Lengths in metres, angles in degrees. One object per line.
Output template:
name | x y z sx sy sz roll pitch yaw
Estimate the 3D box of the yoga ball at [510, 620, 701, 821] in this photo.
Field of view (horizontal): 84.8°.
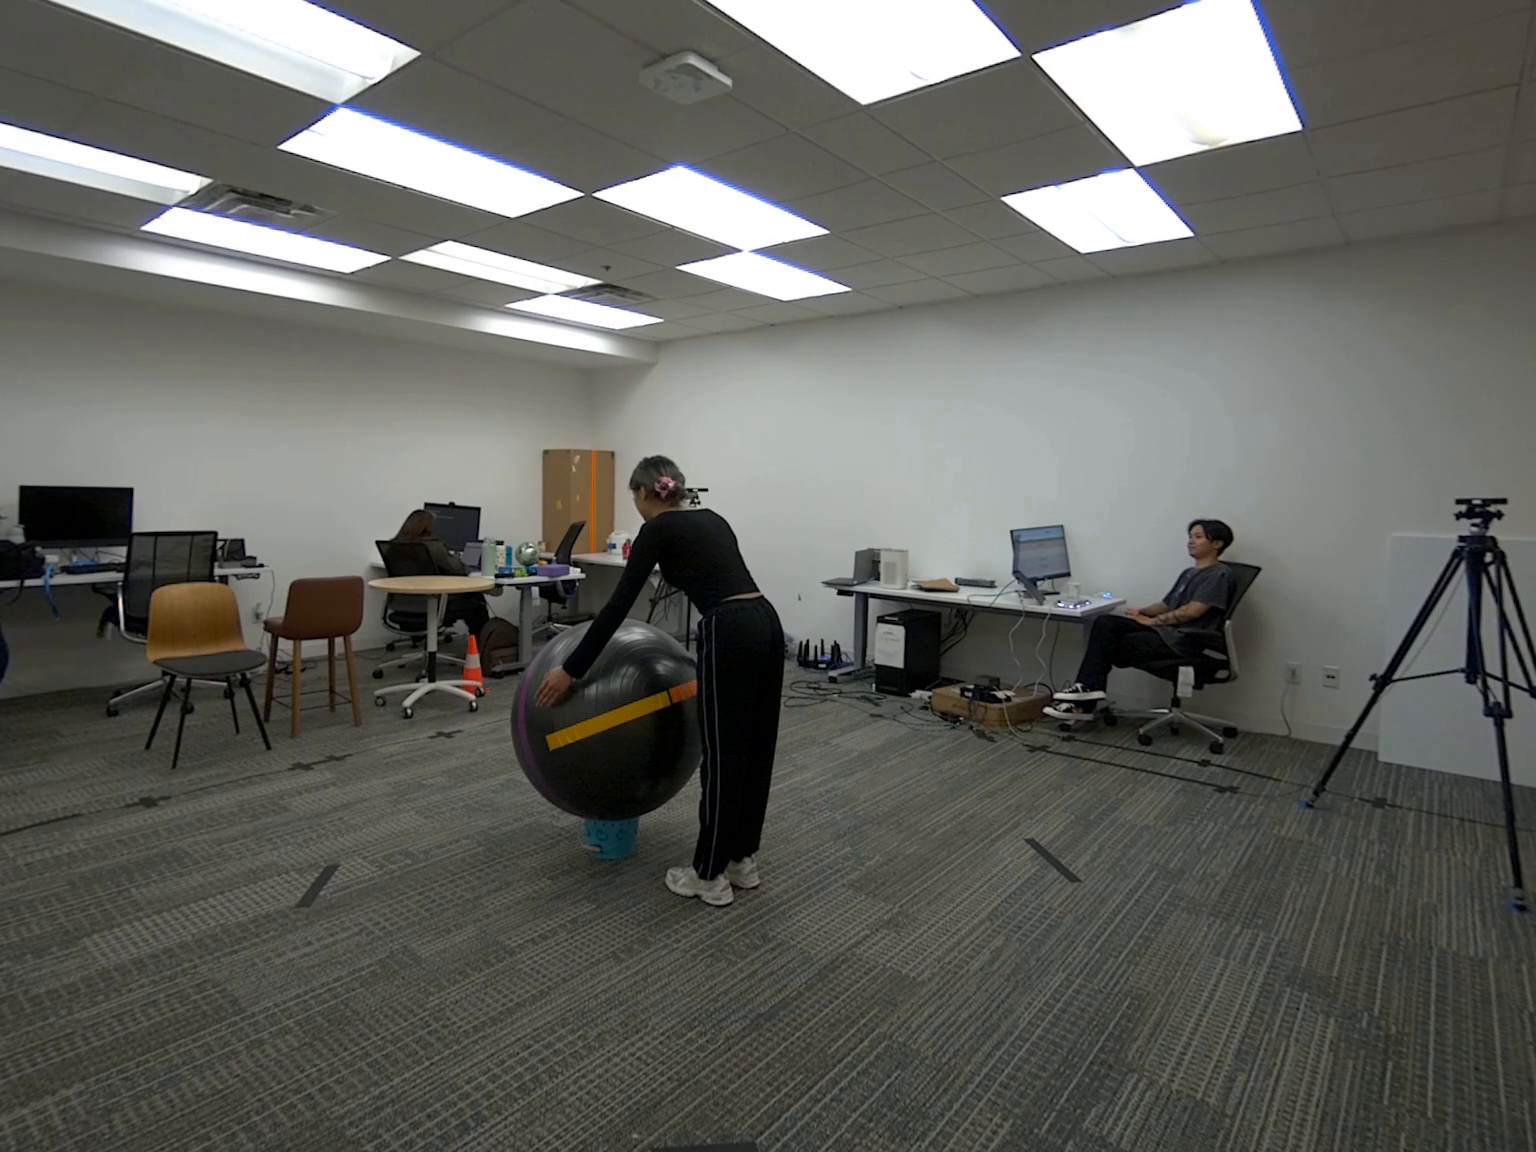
yoga ball | -0.610 0.537 3.257 0.757 0.755 0.762 1 4 -2
